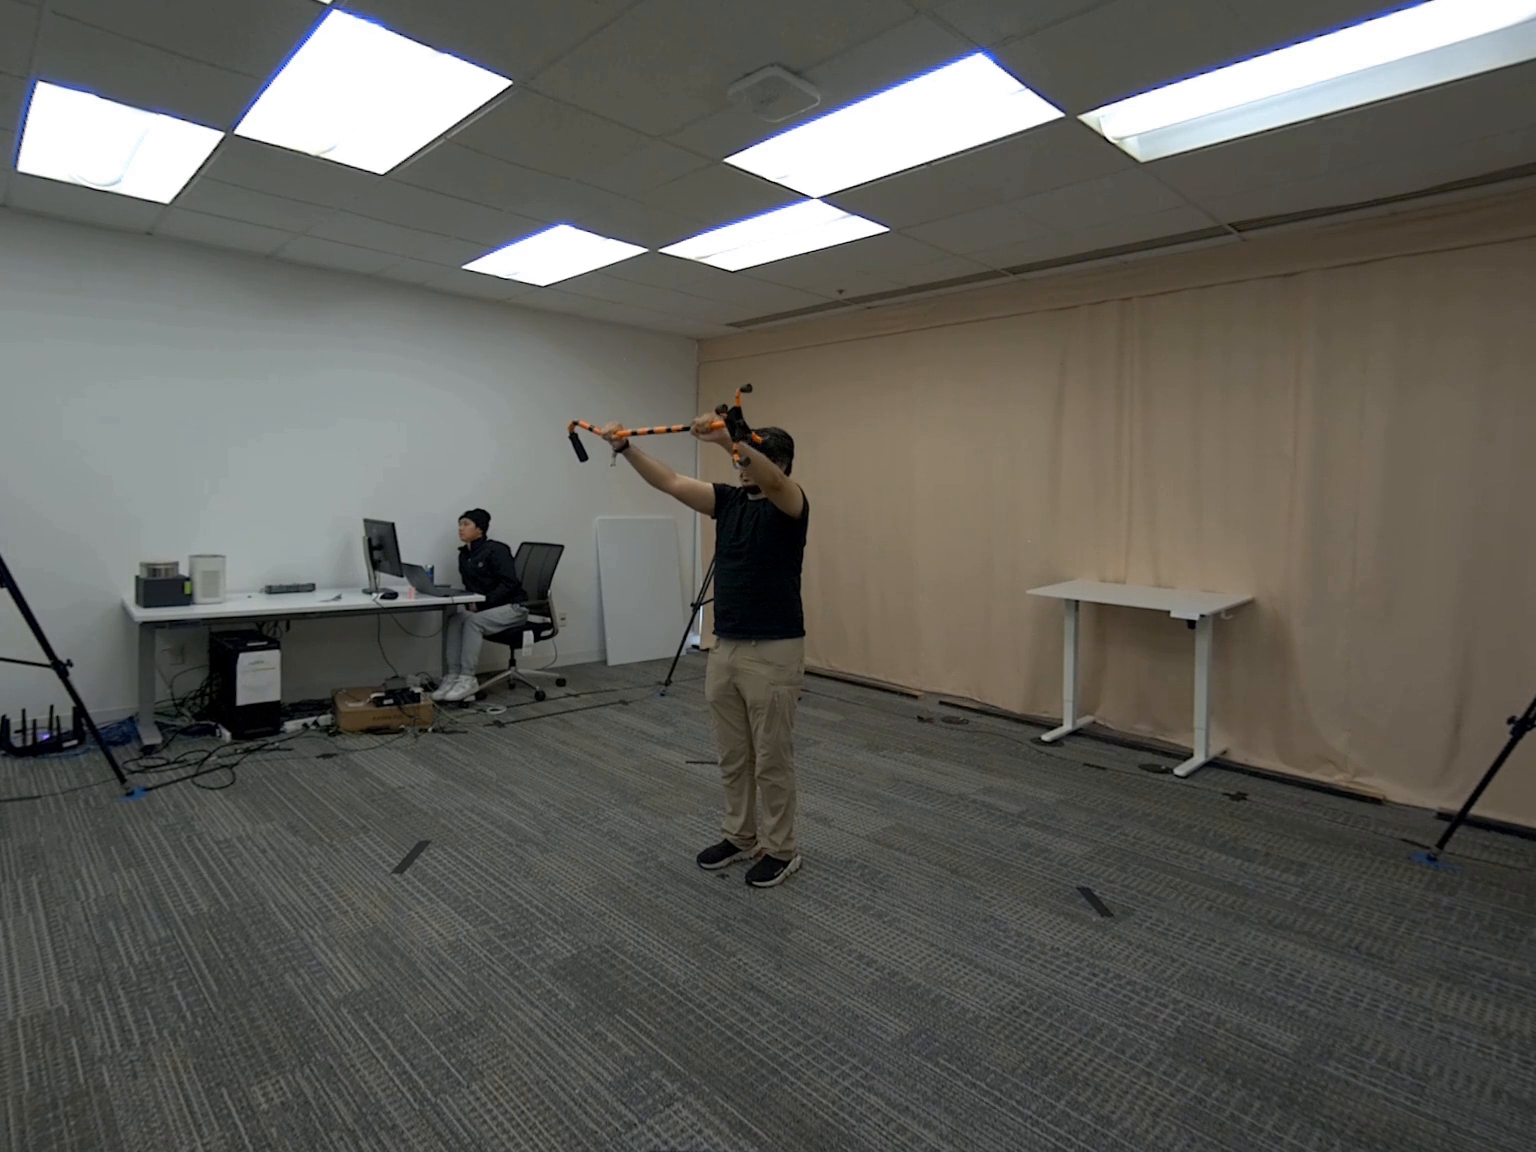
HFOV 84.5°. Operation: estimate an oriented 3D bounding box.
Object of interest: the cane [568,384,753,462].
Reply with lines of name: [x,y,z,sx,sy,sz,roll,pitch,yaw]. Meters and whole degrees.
cane: [-0.398,-0.470,2.788,0.931,0.201,0.151,5,40,43]
